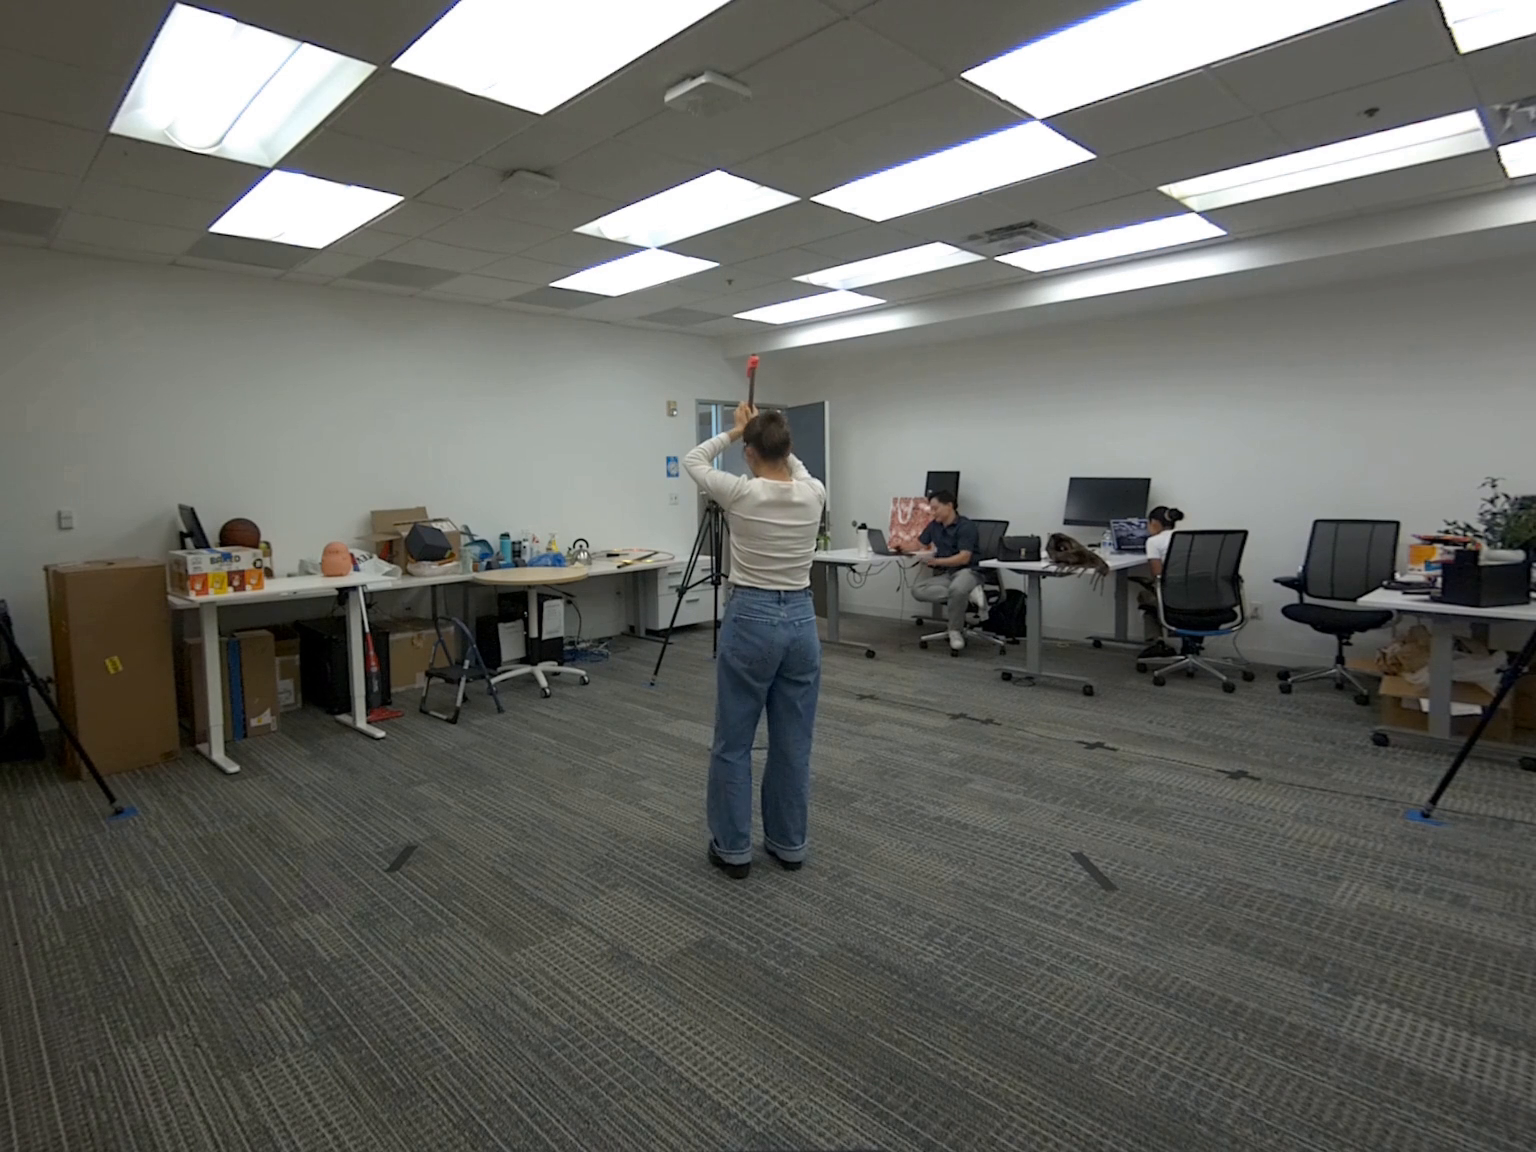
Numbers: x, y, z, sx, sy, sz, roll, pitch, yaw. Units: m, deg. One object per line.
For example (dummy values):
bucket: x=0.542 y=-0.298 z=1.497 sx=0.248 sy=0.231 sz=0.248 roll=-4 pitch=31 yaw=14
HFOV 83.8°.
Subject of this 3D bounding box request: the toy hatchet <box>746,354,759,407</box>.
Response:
toy hatchet: x=-0.071 y=-0.709 z=3.238 sx=0.029 sy=0.266 sz=0.135 roll=-1 pitch=21 yaw=-17
